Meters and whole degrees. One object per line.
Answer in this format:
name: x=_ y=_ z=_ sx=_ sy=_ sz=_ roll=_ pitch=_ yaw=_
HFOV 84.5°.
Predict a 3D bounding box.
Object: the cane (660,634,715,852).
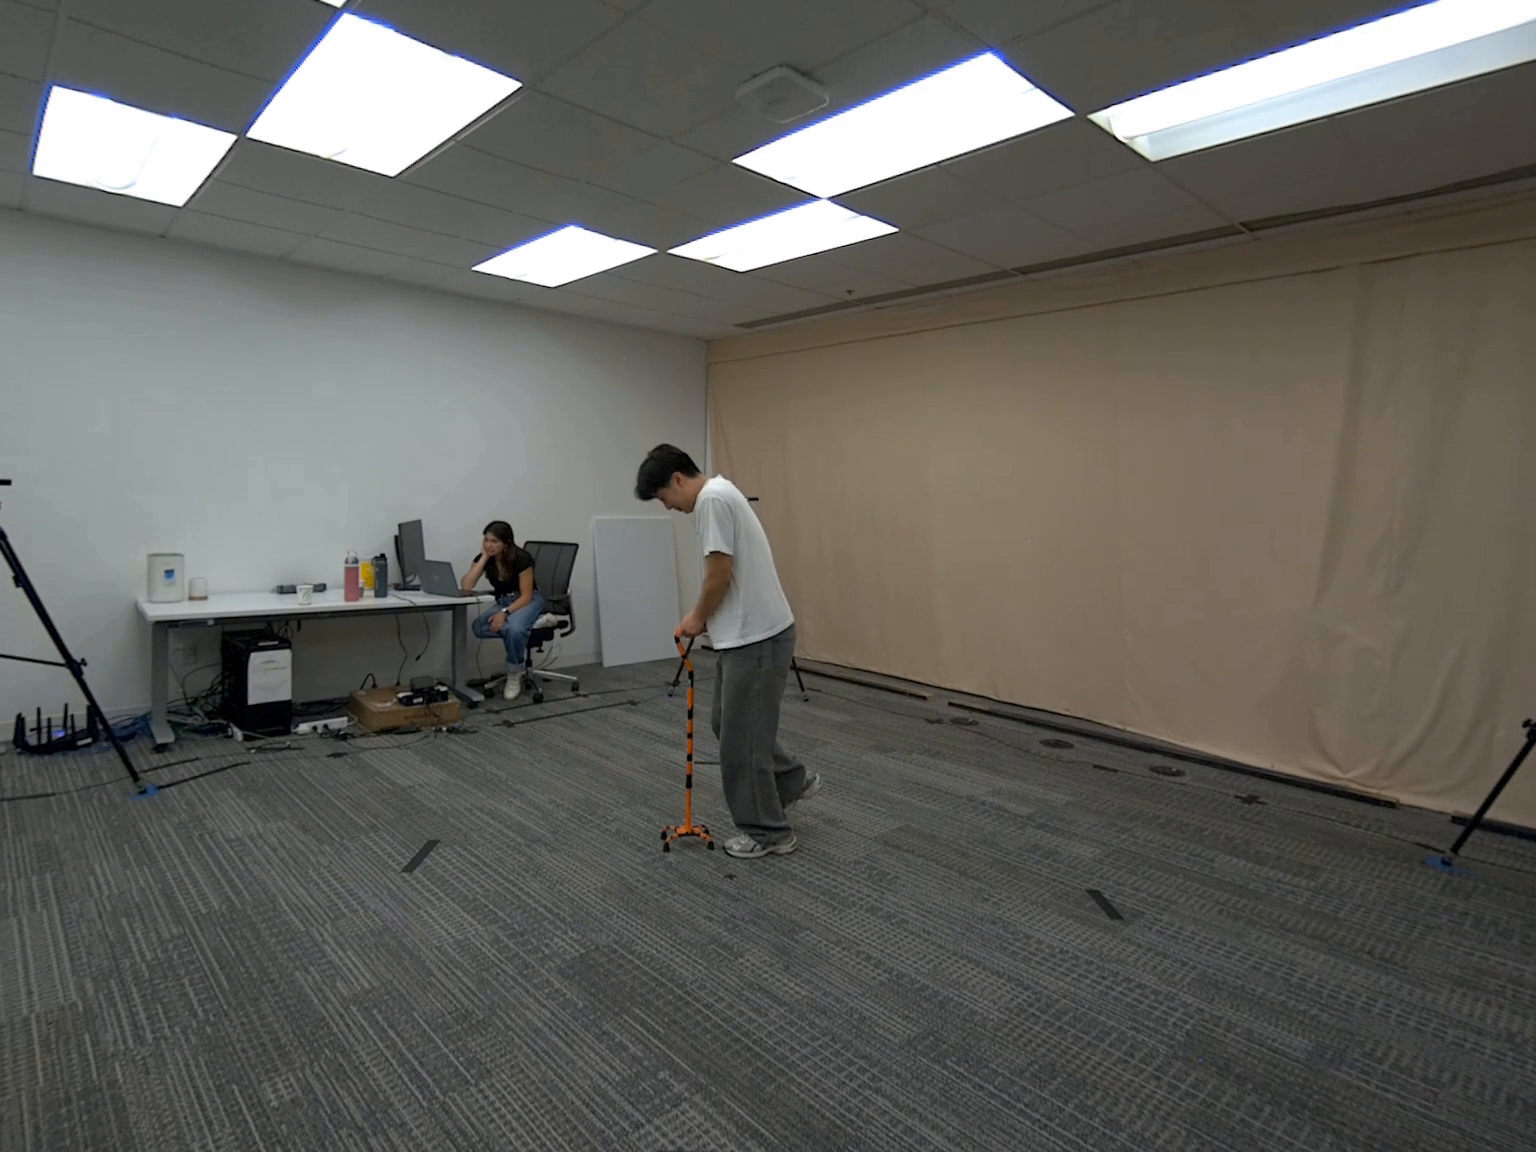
cane: x=-0.317 y=0.626 z=3.370 sx=0.204 sy=0.906 sz=0.153 roll=2 pitch=2 yaw=-13
